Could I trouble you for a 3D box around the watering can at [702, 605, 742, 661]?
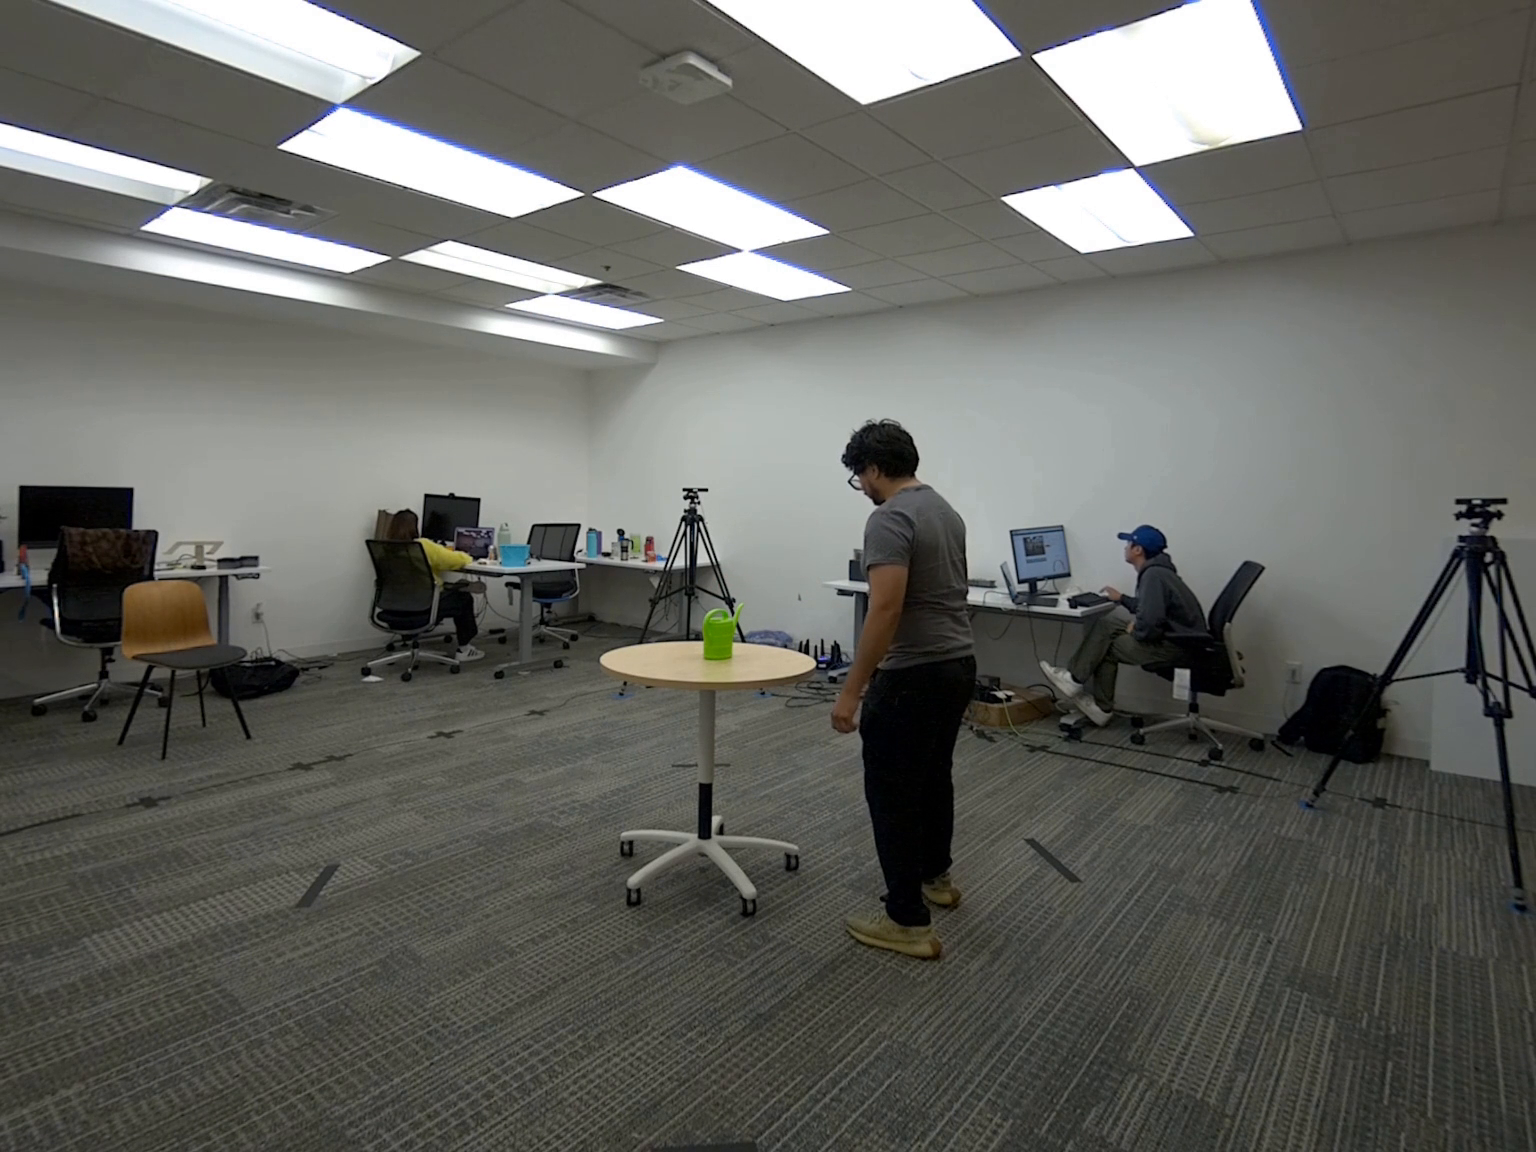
[{"bbox_3d":[-0.167,0.201,3.100,0.101,0.176,0.270,3,6,43],"label":"watering can"}]
